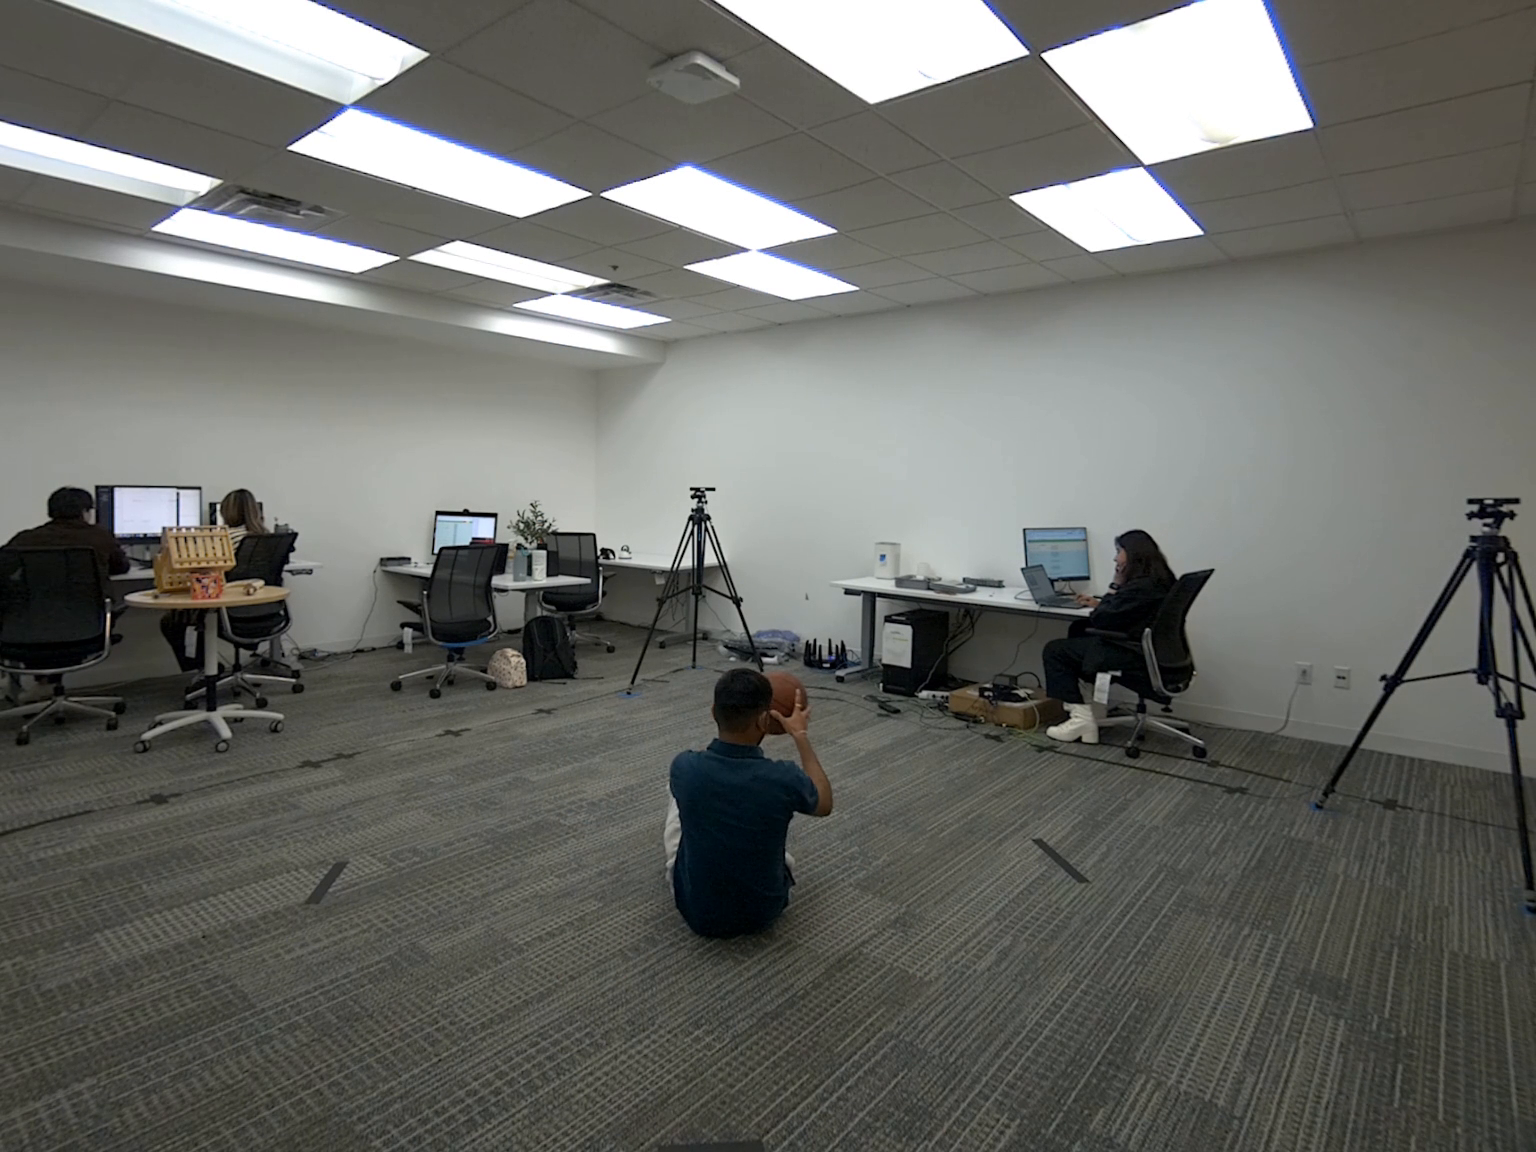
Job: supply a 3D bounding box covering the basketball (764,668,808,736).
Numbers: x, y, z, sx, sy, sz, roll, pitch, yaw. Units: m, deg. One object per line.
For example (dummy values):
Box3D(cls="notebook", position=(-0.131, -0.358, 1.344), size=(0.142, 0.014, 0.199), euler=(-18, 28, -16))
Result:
Box3D(cls="basketball", position=(-0.003, 0.466, 3.152), size=(0.235, 0.235, 0.237), euler=(1, 4, -2))
